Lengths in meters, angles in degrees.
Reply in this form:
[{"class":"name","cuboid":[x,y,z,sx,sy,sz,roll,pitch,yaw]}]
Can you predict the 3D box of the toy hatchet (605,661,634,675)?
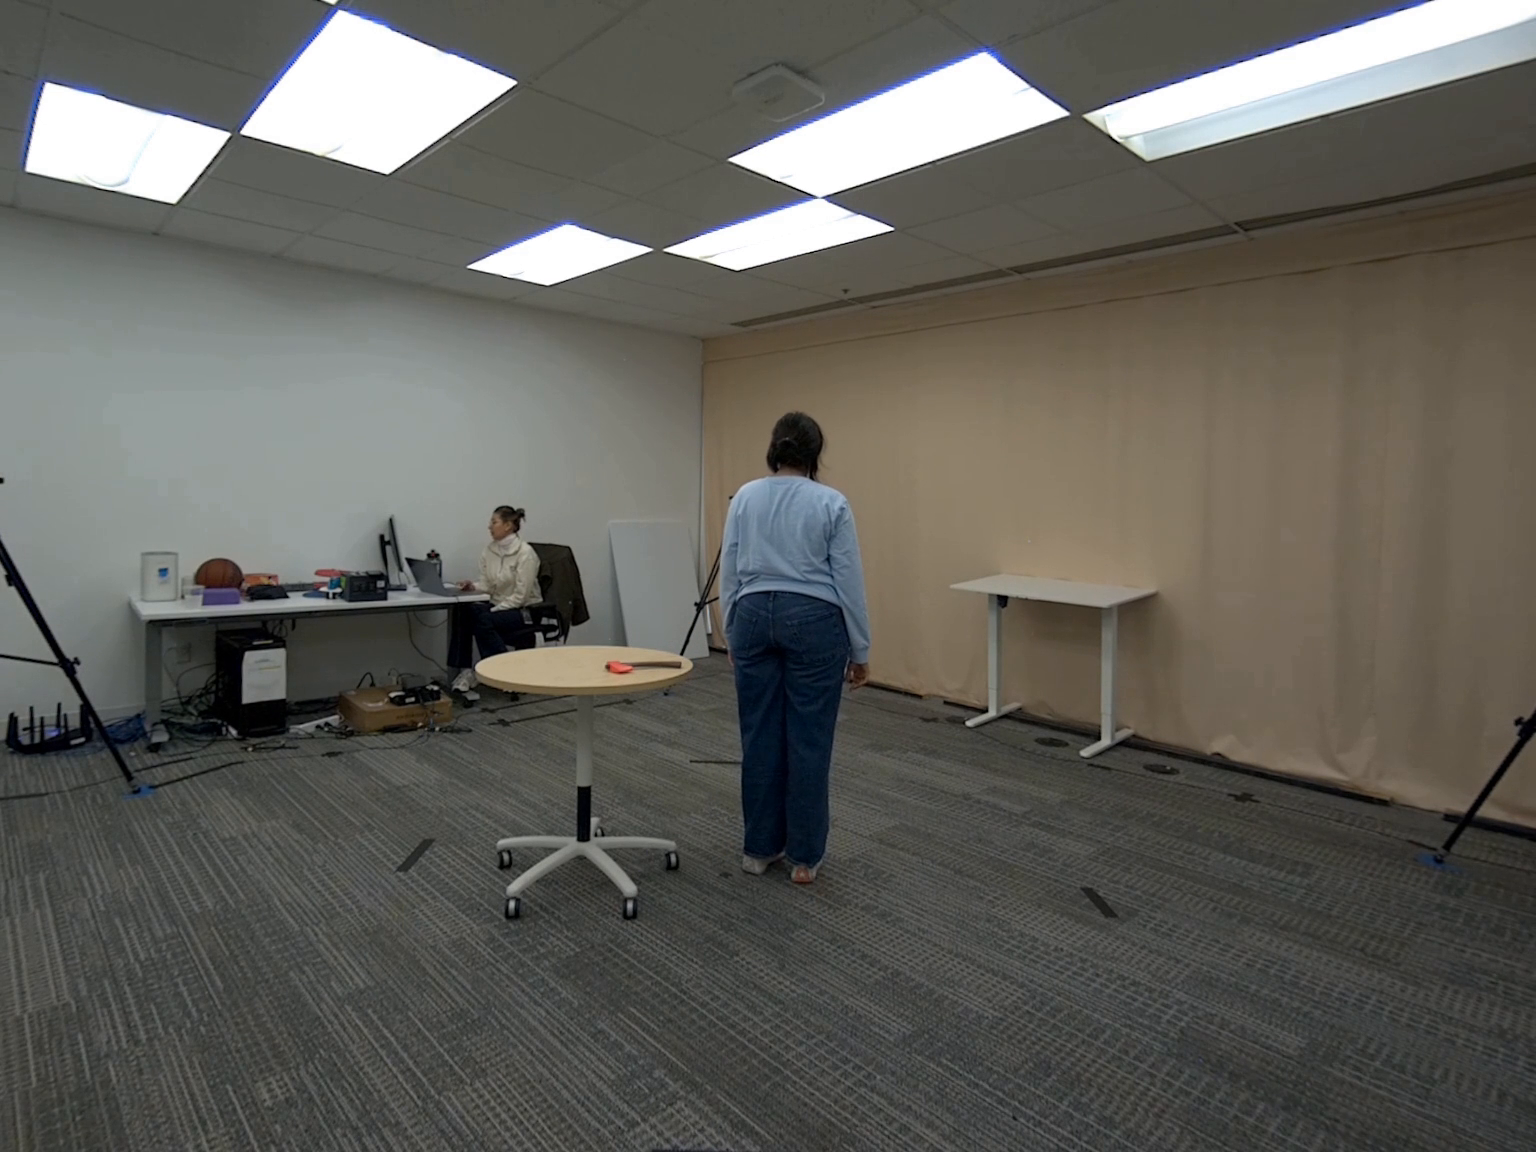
[{"class":"toy hatchet","cuboid":[-0.430,0.319,2.904,0.268,0.029,0.132,2,6,-7]}]
